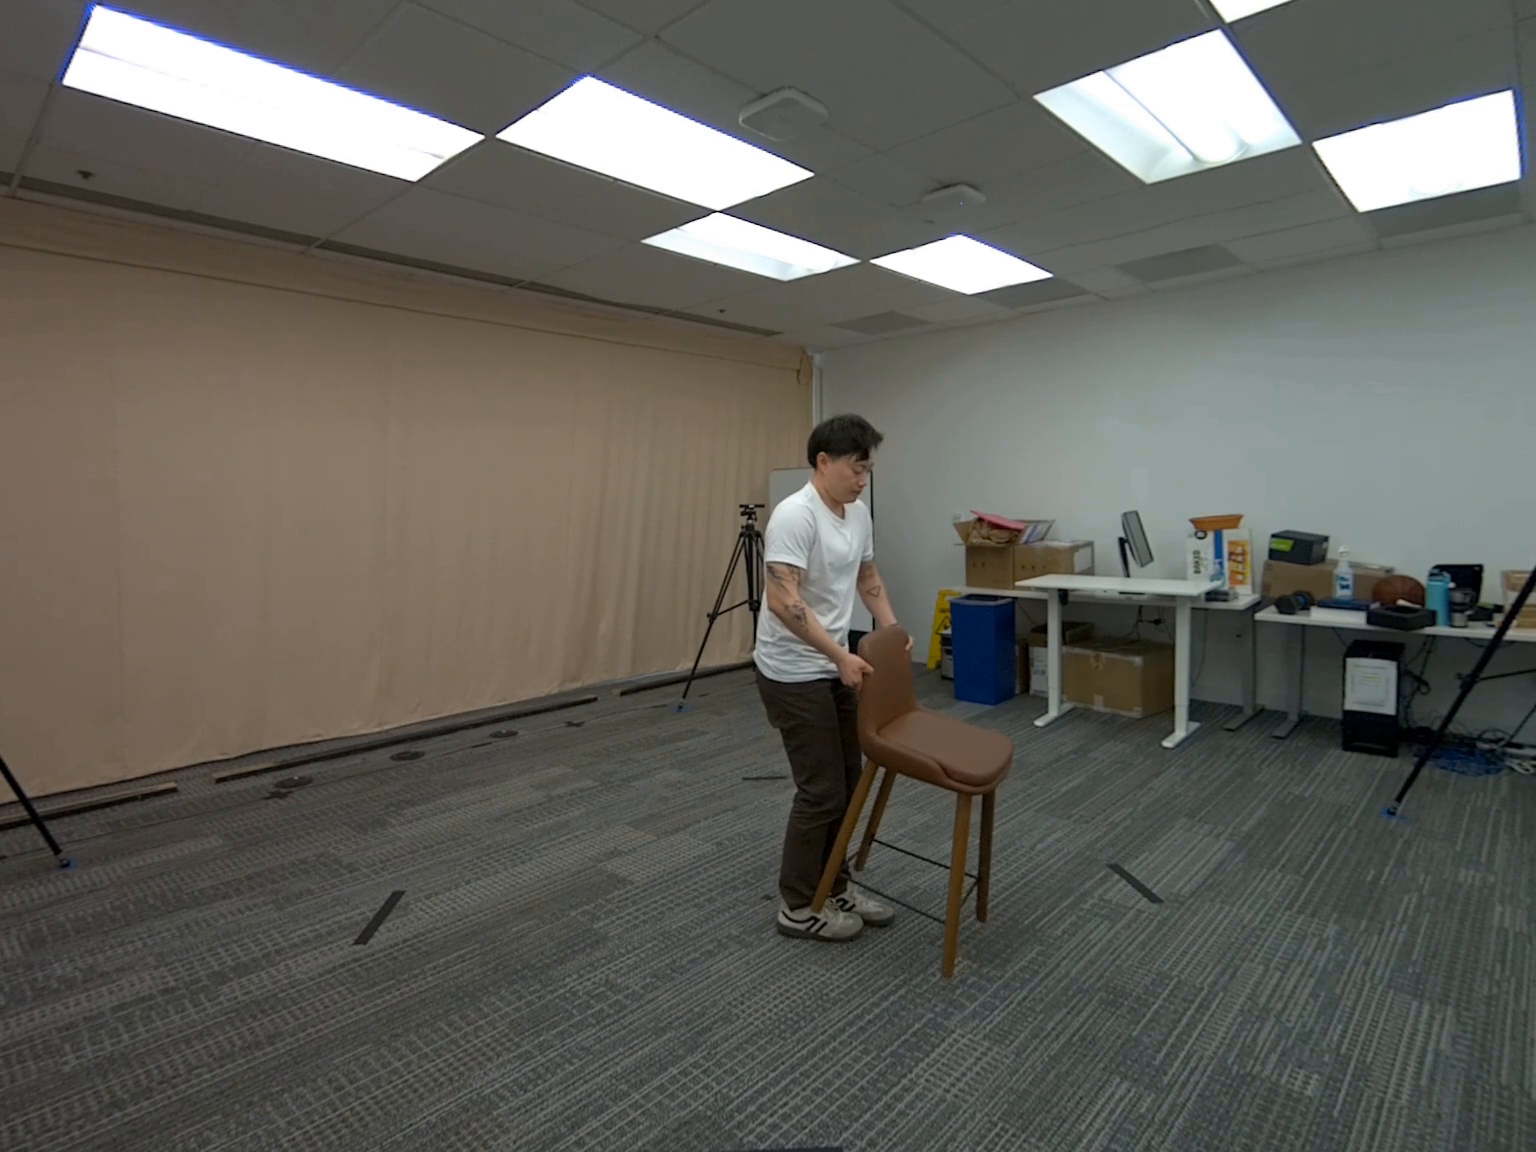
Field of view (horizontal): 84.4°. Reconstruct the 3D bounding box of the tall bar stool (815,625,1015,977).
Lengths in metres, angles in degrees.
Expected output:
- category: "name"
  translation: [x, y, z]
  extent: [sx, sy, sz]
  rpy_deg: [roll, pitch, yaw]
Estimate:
- category: "tall bar stool"
  translation: [0.486, 0.656, 2.592]
  extent: [0.482, 0.887, 0.444]
  rpy_deg: [11, 8, 29]
